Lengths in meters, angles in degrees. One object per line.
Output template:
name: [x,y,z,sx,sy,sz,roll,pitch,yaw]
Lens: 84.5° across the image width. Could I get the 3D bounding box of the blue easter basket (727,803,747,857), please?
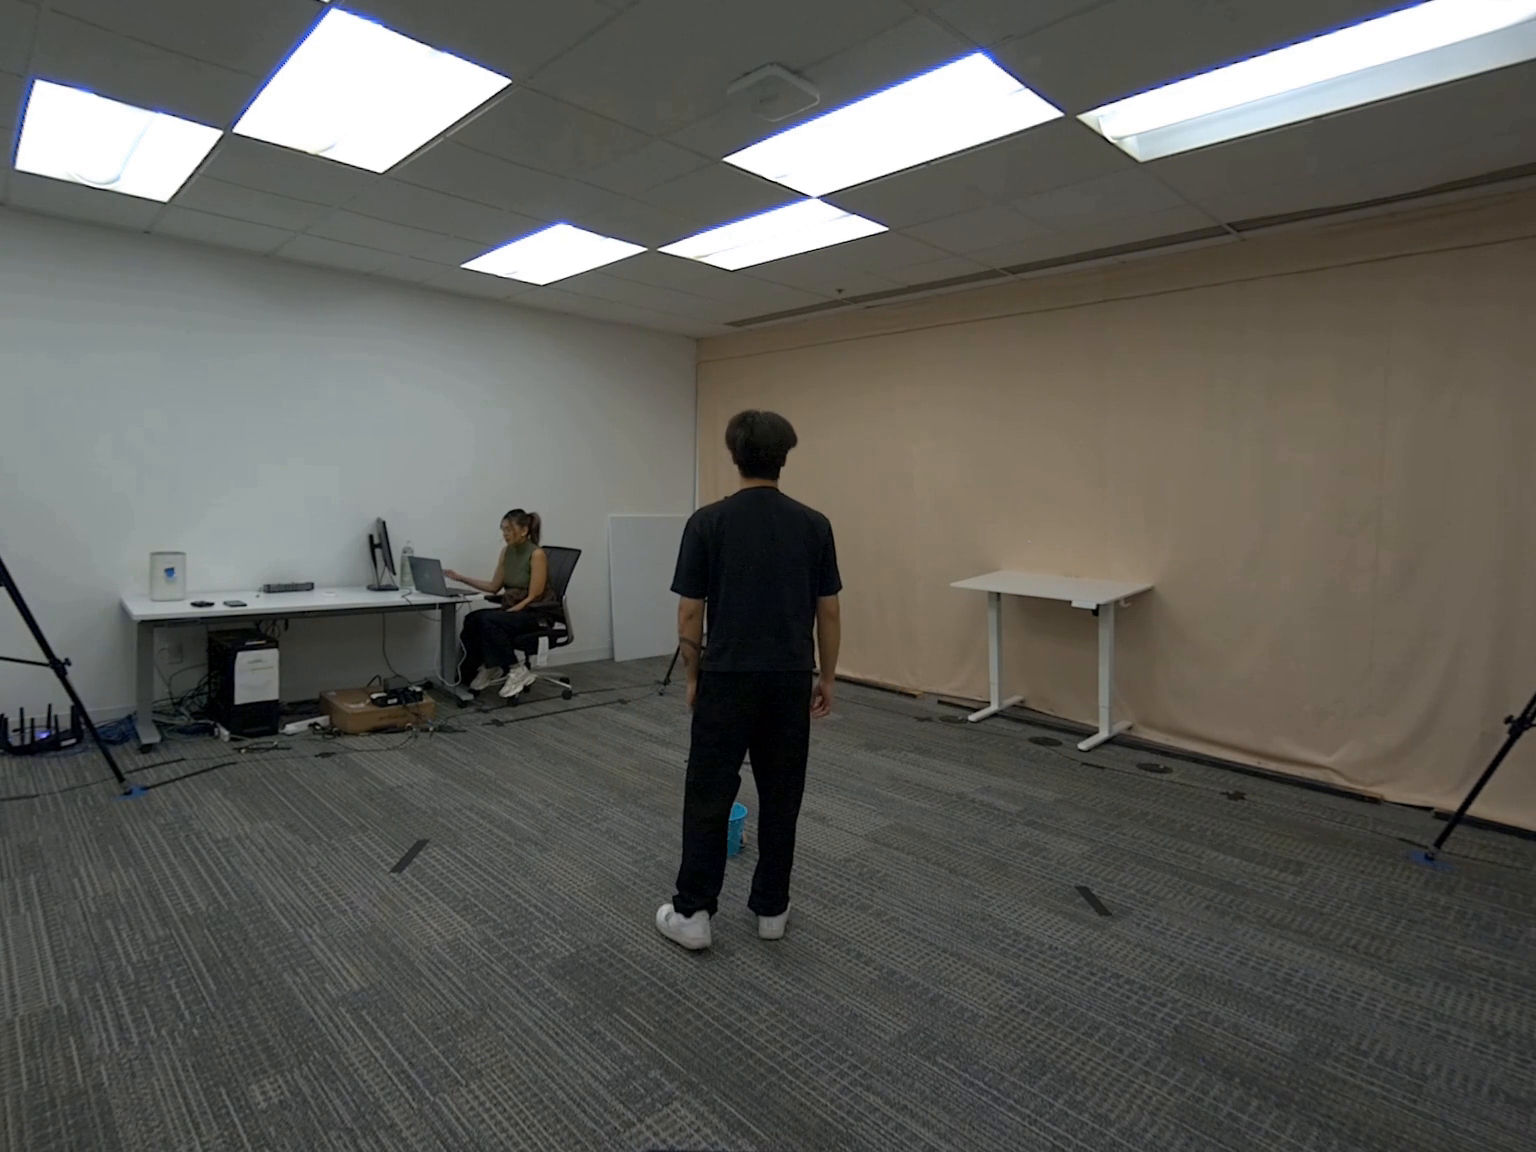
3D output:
blue easter basket: [-0.205,1.006,3.344,0.243,0.155,0.244,1,4,-1]
